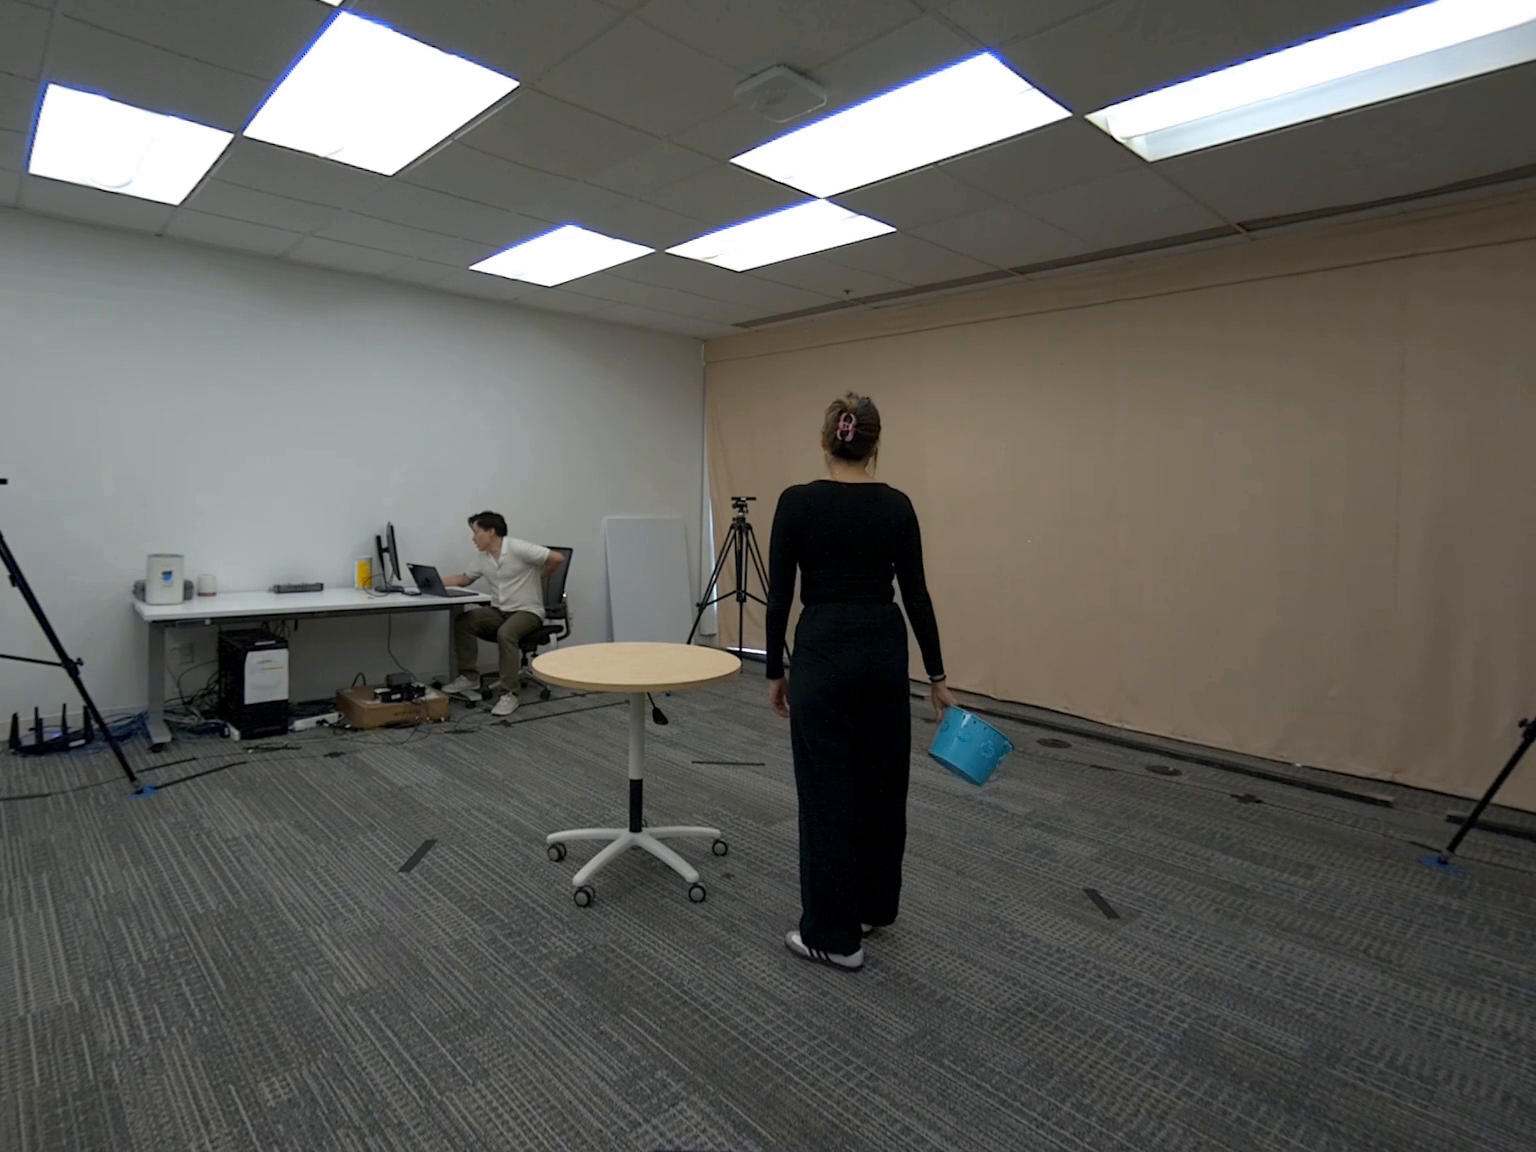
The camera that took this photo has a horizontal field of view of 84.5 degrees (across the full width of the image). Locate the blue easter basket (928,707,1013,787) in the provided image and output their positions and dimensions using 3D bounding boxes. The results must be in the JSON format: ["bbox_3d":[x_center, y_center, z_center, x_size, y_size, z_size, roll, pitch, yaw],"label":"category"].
[{"bbox_3d":[0.595,0.511,2.546,0.245,0.156,0.241,34,-11,6],"label":"blue easter basket"}]
